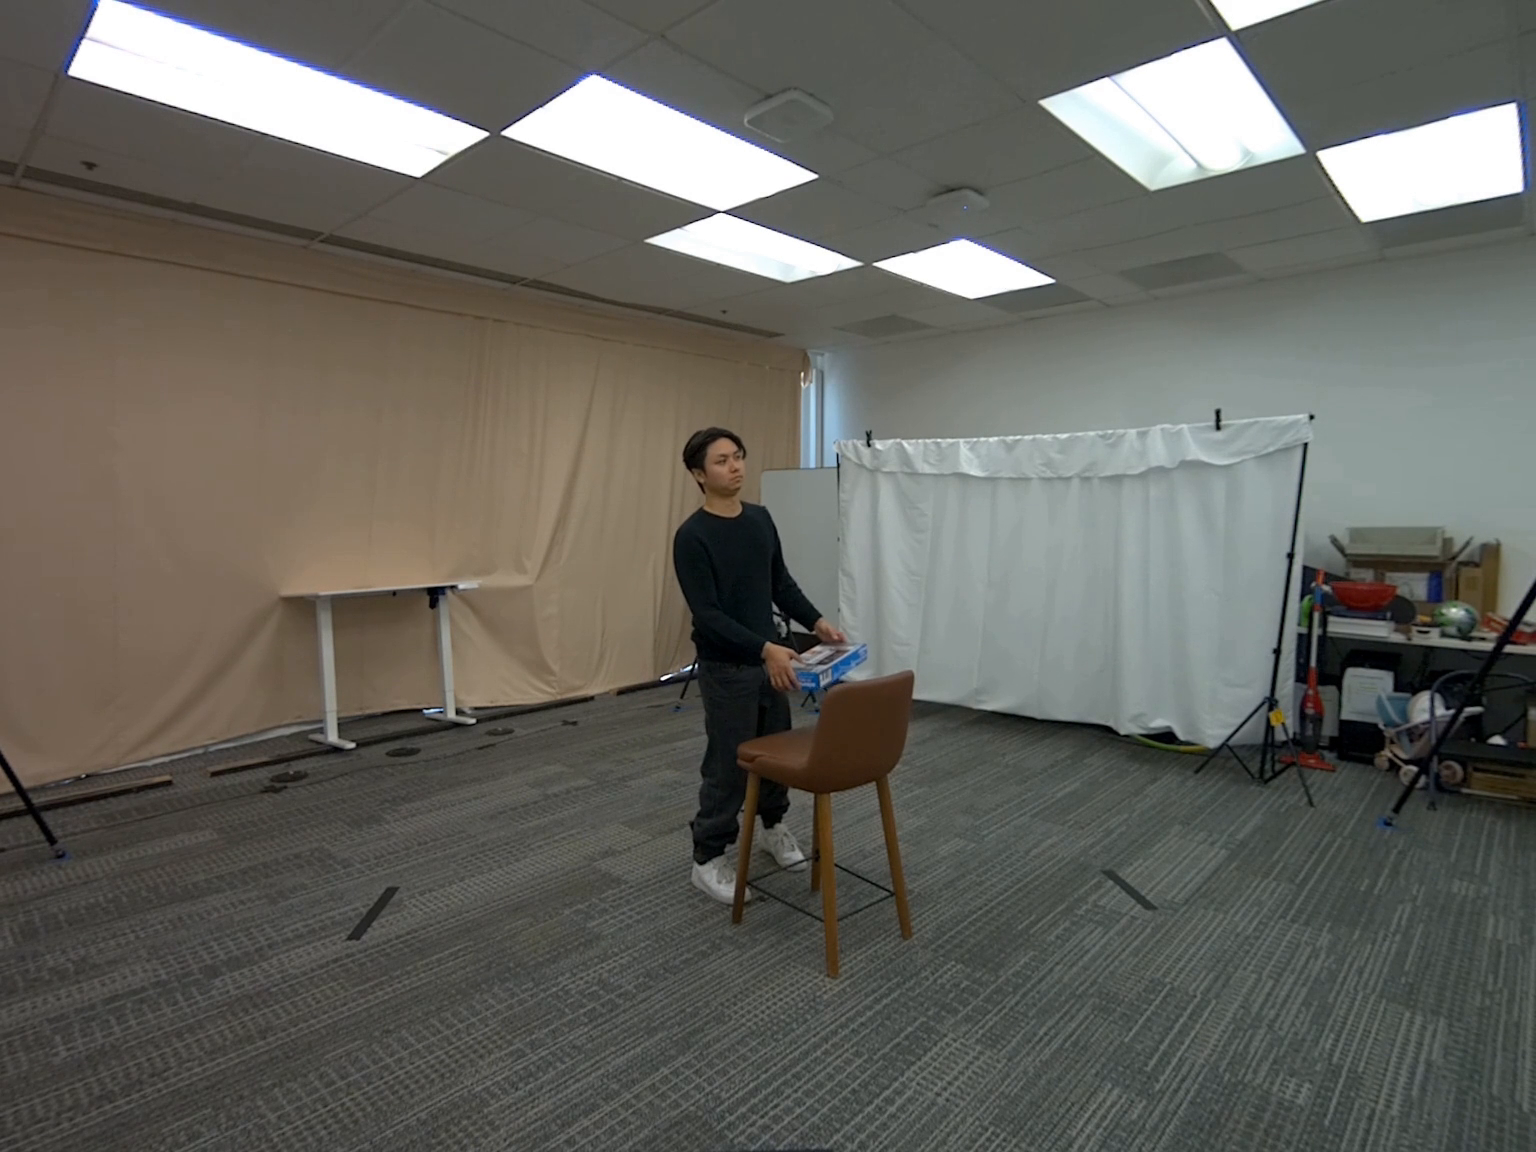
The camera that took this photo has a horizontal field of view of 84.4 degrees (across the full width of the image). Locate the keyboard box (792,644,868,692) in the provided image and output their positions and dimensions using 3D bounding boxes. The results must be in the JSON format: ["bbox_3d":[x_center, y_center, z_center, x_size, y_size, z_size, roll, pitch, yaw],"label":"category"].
[{"bbox_3d":[0.184,0.309,2.927,0.181,0.059,0.427,-1,8,29],"label":"keyboard box"}]
